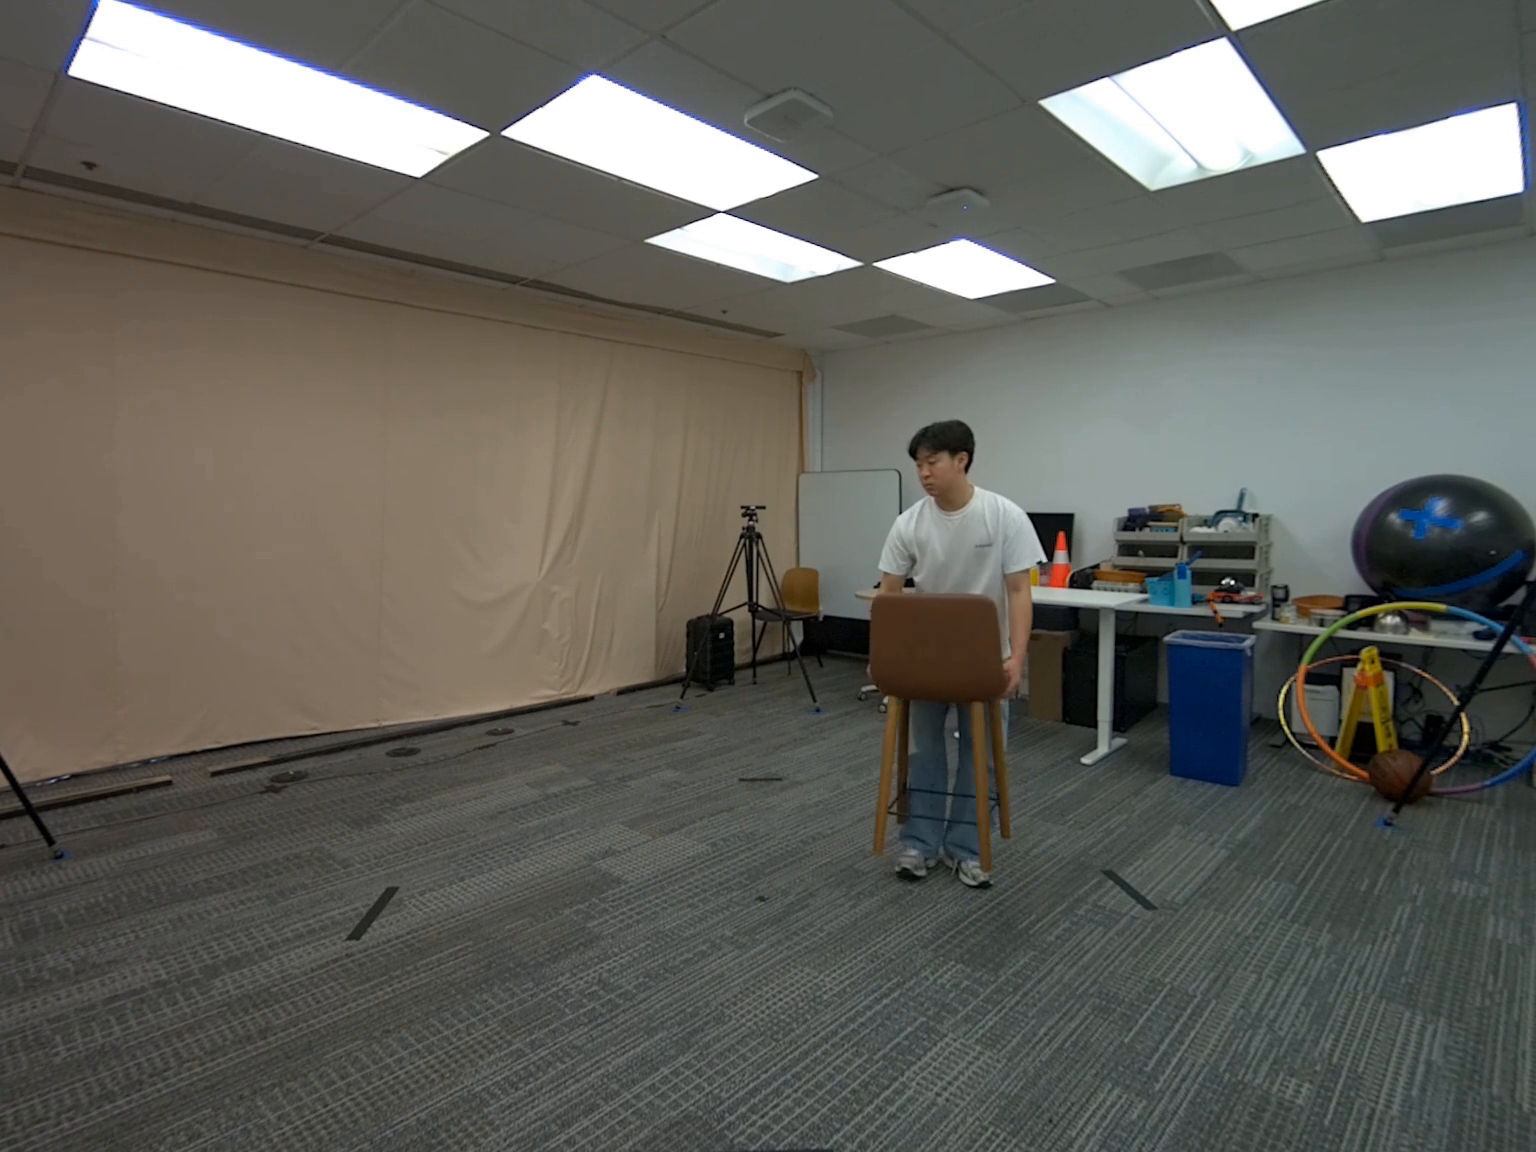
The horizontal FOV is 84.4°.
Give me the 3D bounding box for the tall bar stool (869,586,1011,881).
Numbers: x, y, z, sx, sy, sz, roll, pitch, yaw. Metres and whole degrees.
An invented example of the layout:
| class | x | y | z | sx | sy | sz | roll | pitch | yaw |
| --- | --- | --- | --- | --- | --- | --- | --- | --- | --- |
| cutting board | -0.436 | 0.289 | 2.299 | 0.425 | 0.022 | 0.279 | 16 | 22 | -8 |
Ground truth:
| class | x | y | z | sx | sy | sz | roll | pitch | yaw |
| --- | --- | --- | --- | --- | --- | --- | --- | --- | --- |
| tall bar stool | 0.608 | 0.513 | 2.942 | 0.468 | 0.891 | 0.455 | 0 | -2 | 25 |
